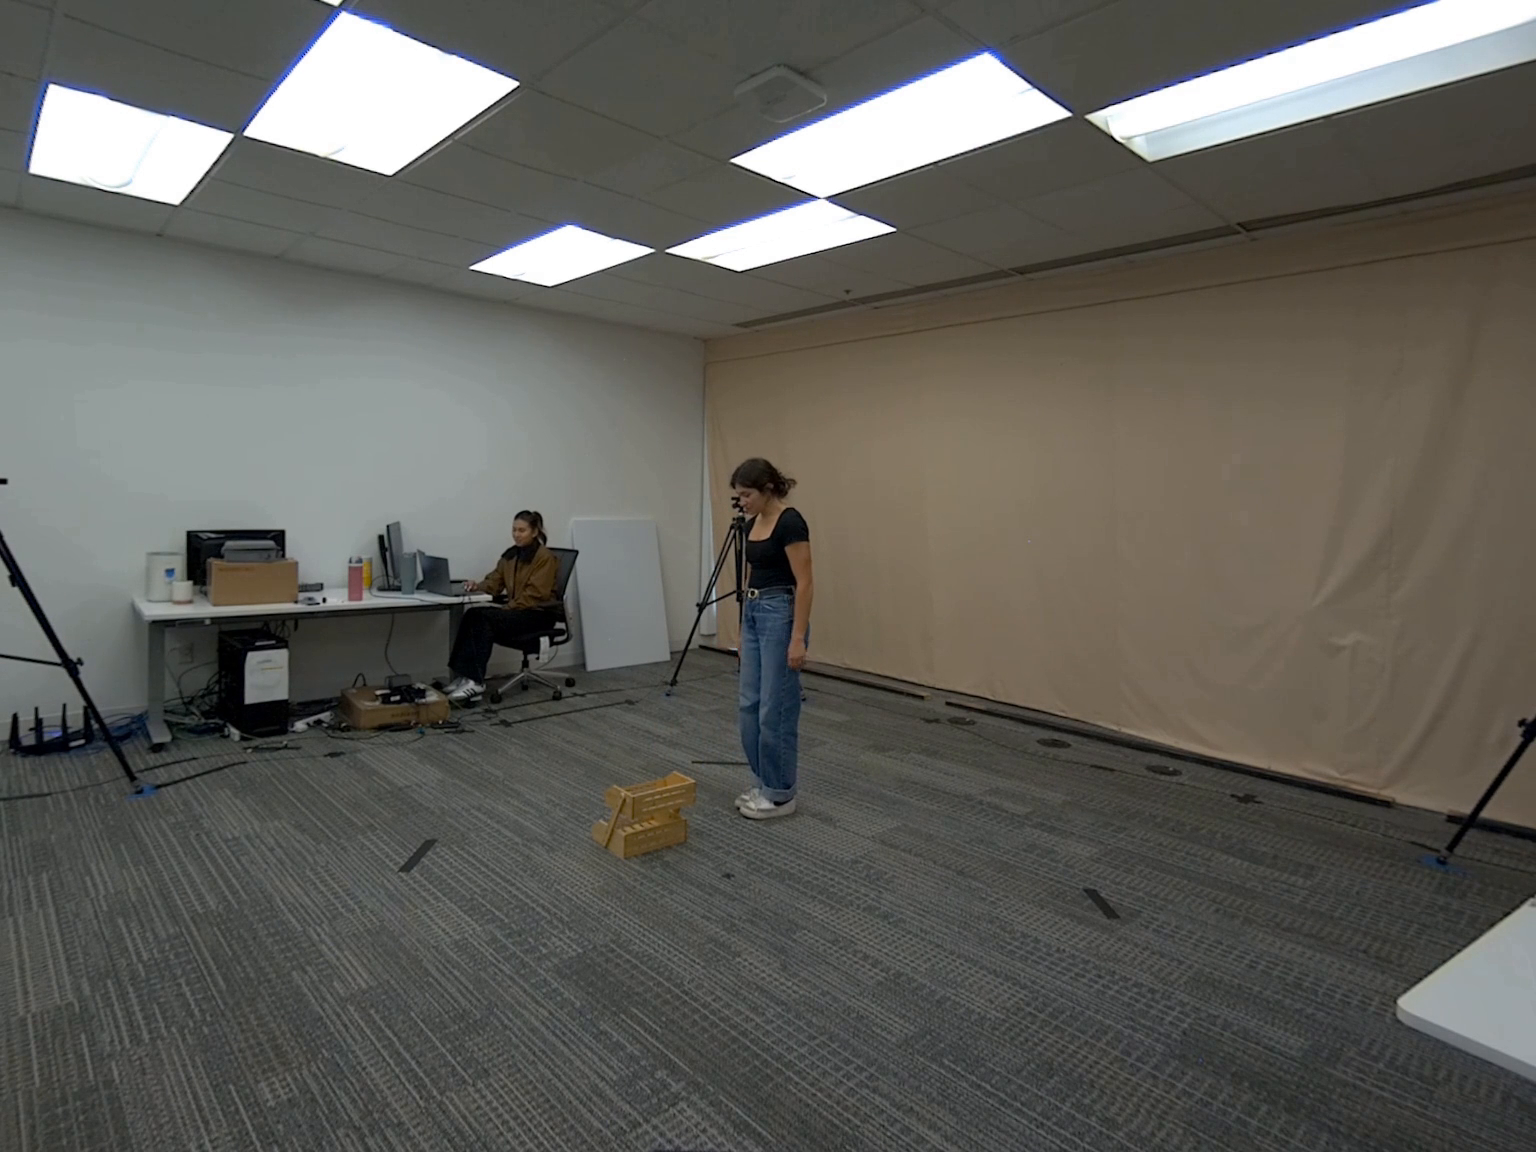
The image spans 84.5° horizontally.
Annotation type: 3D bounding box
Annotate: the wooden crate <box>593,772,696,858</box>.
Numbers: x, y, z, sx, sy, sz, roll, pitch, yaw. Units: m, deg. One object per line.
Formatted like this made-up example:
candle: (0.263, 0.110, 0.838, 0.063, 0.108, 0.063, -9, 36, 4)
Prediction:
wooden crate: (-0.513, 0.940, 3.392, 0.317, 0.272, 0.310, -2, 6, -41)
